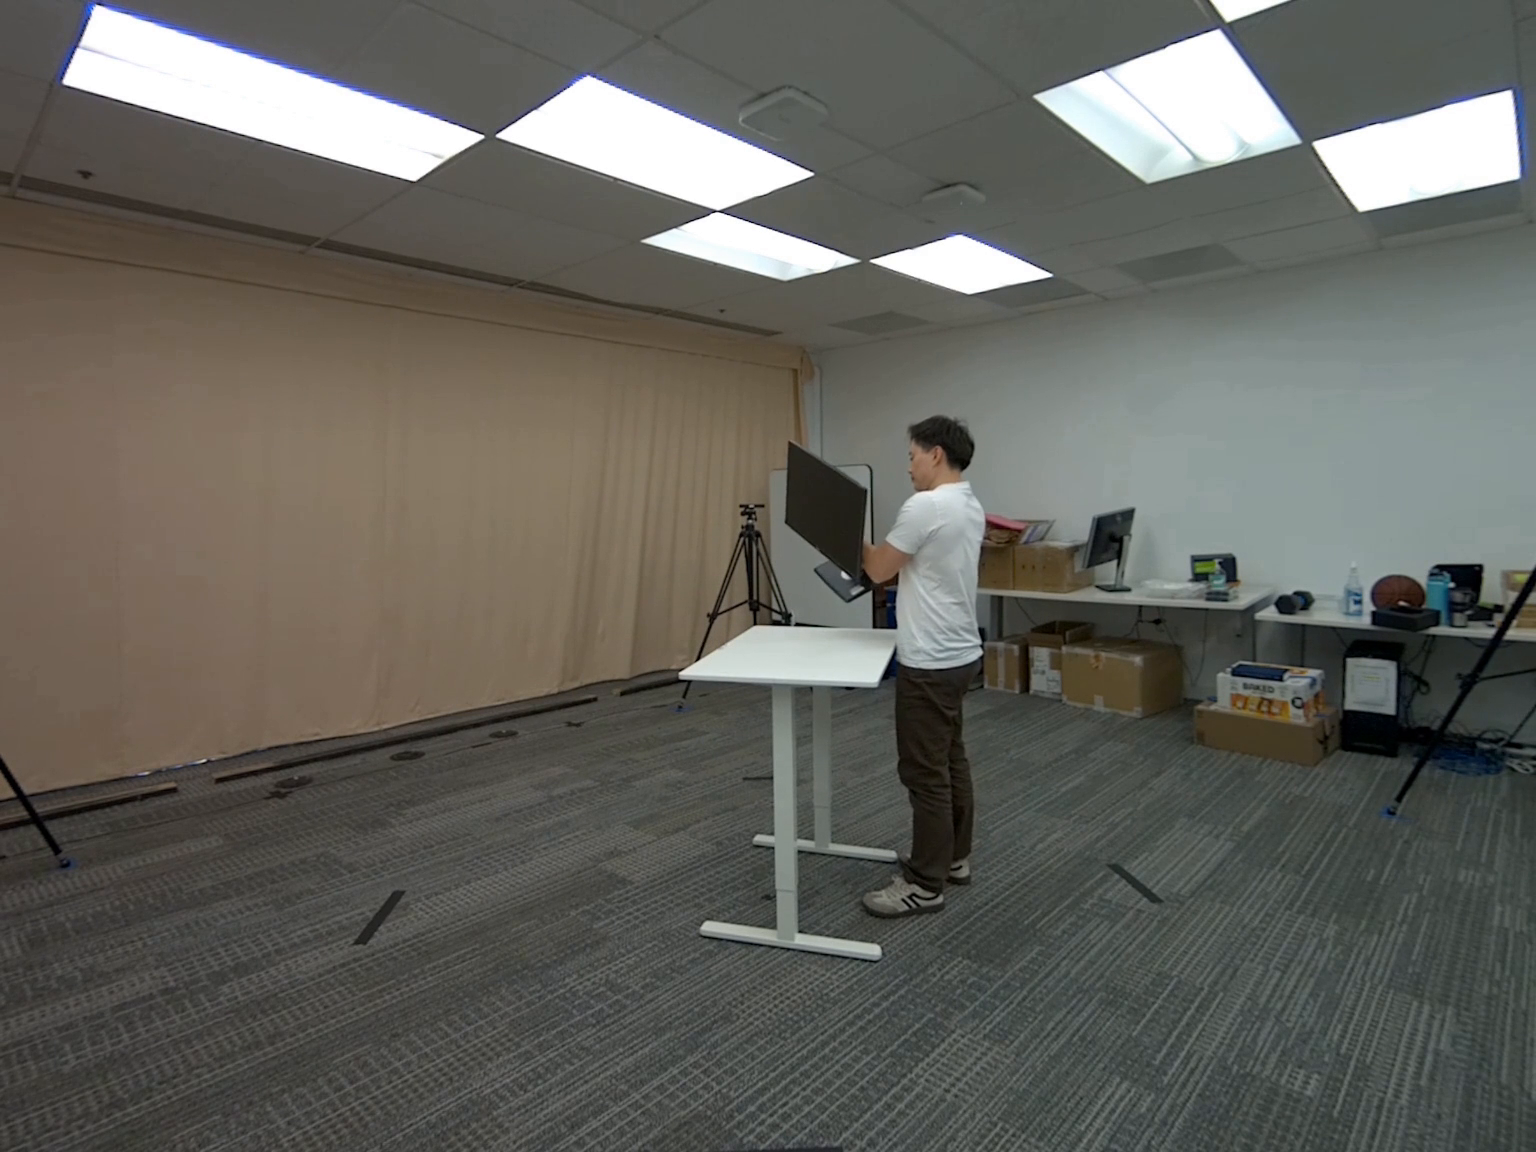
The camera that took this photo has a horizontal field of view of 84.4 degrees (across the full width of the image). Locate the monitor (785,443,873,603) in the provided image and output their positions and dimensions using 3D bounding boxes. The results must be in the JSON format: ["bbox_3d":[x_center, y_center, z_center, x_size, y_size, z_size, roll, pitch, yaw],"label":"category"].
[{"bbox_3d":[0.249,-0.186,3.146,0.185,0.511,0.558,-24,35,-18],"label":"monitor"}]
